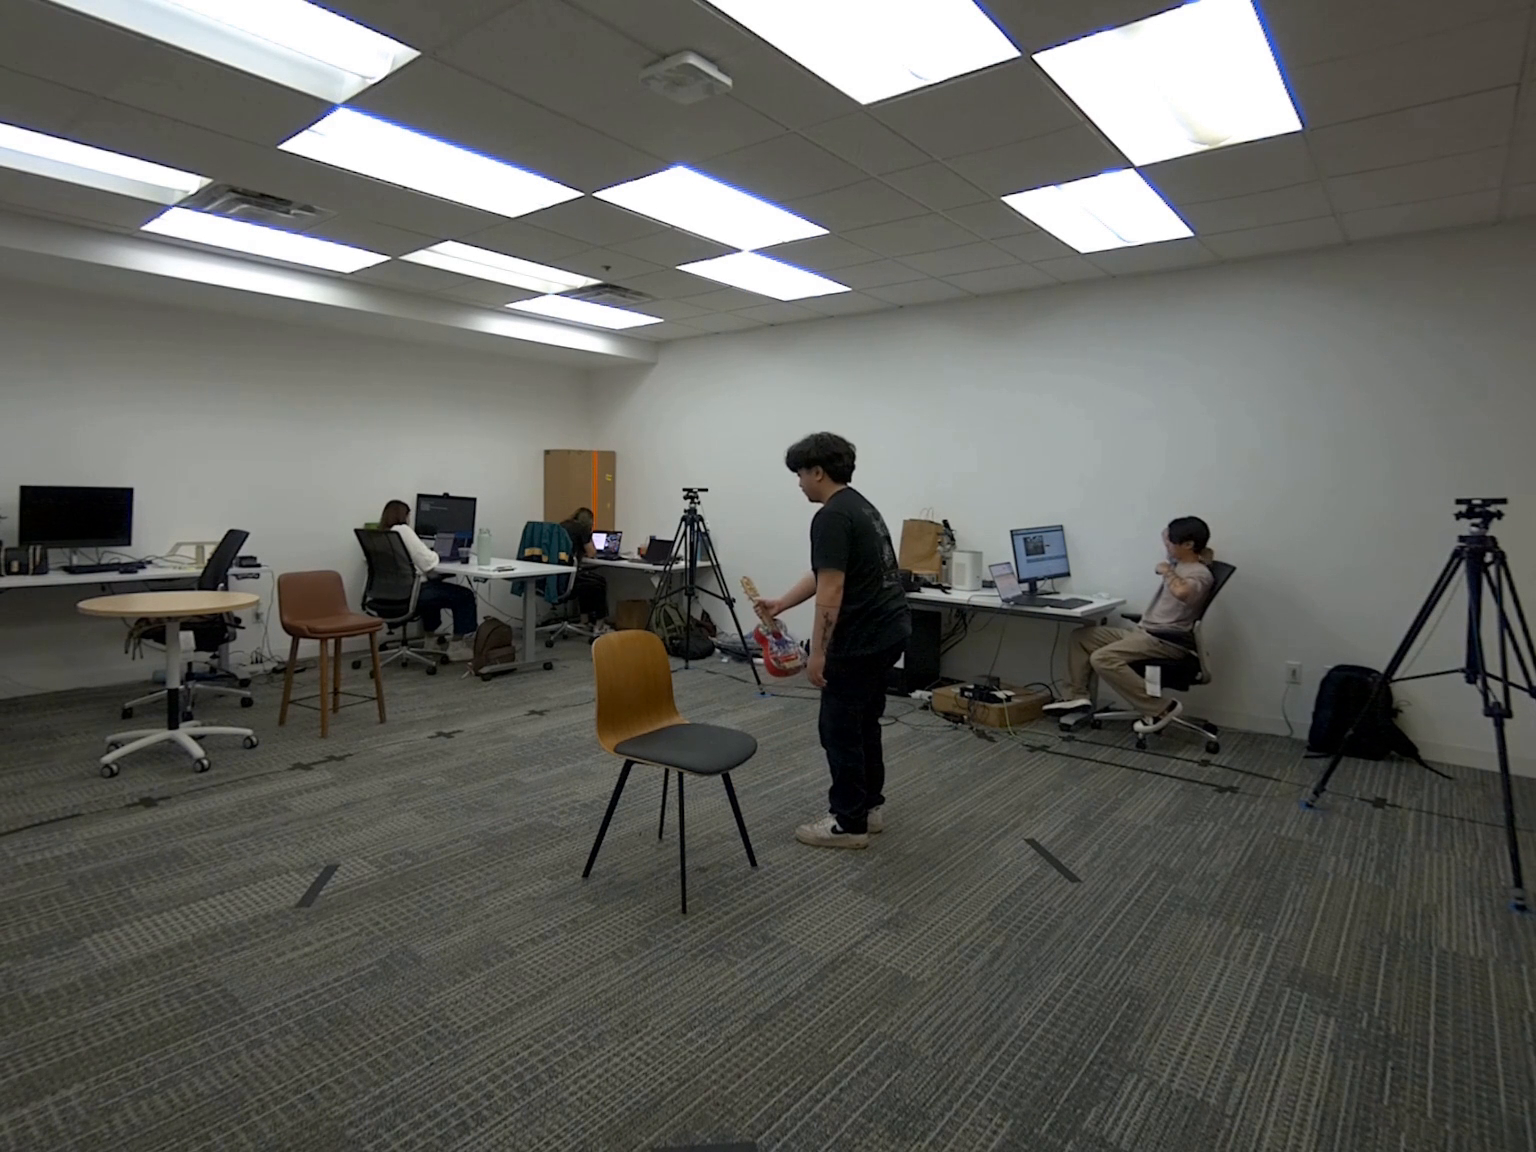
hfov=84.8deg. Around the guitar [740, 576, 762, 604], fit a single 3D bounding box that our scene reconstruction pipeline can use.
[{"bbox_3d":[0.026,0.222,3.779,0.188,0.515,0.070,3,-41,-24],"label":"guitar"}]
